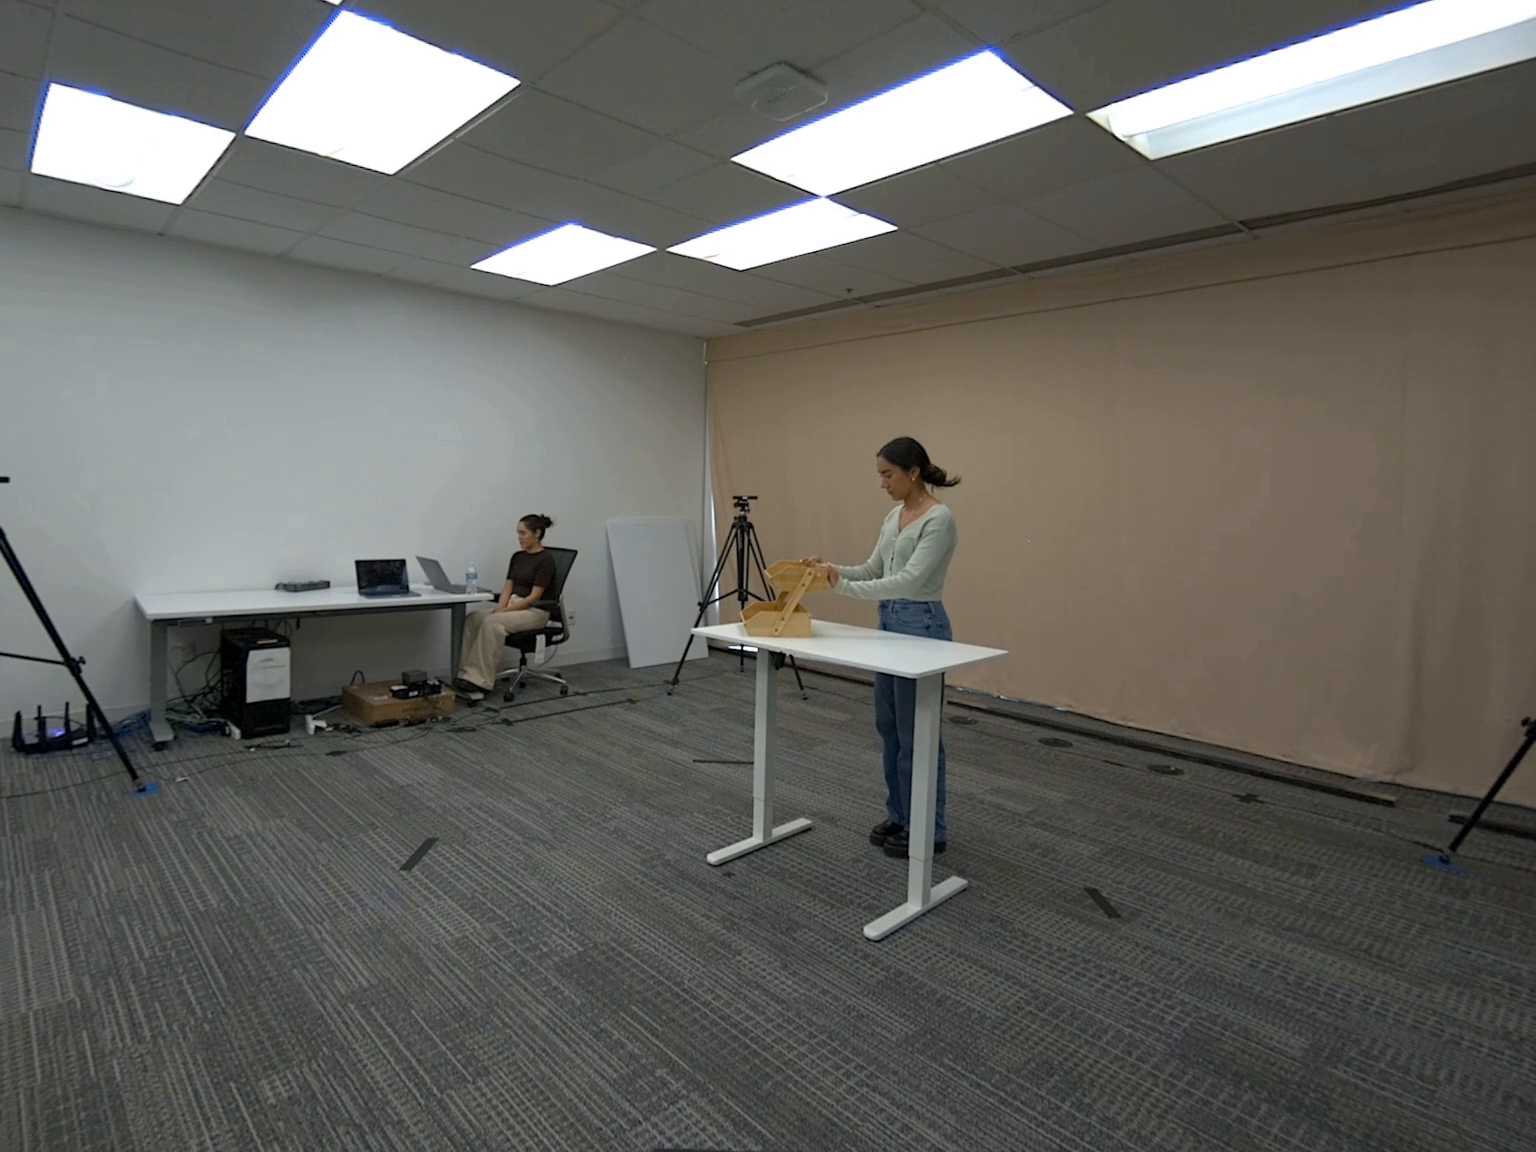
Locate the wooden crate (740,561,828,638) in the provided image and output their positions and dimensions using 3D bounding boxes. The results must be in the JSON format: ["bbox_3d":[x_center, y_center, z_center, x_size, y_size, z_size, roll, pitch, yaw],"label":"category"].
[{"bbox_3d":[0.050,0.083,3.231,0.301,0.273,0.326,1,3,-4],"label":"wooden crate"}]
